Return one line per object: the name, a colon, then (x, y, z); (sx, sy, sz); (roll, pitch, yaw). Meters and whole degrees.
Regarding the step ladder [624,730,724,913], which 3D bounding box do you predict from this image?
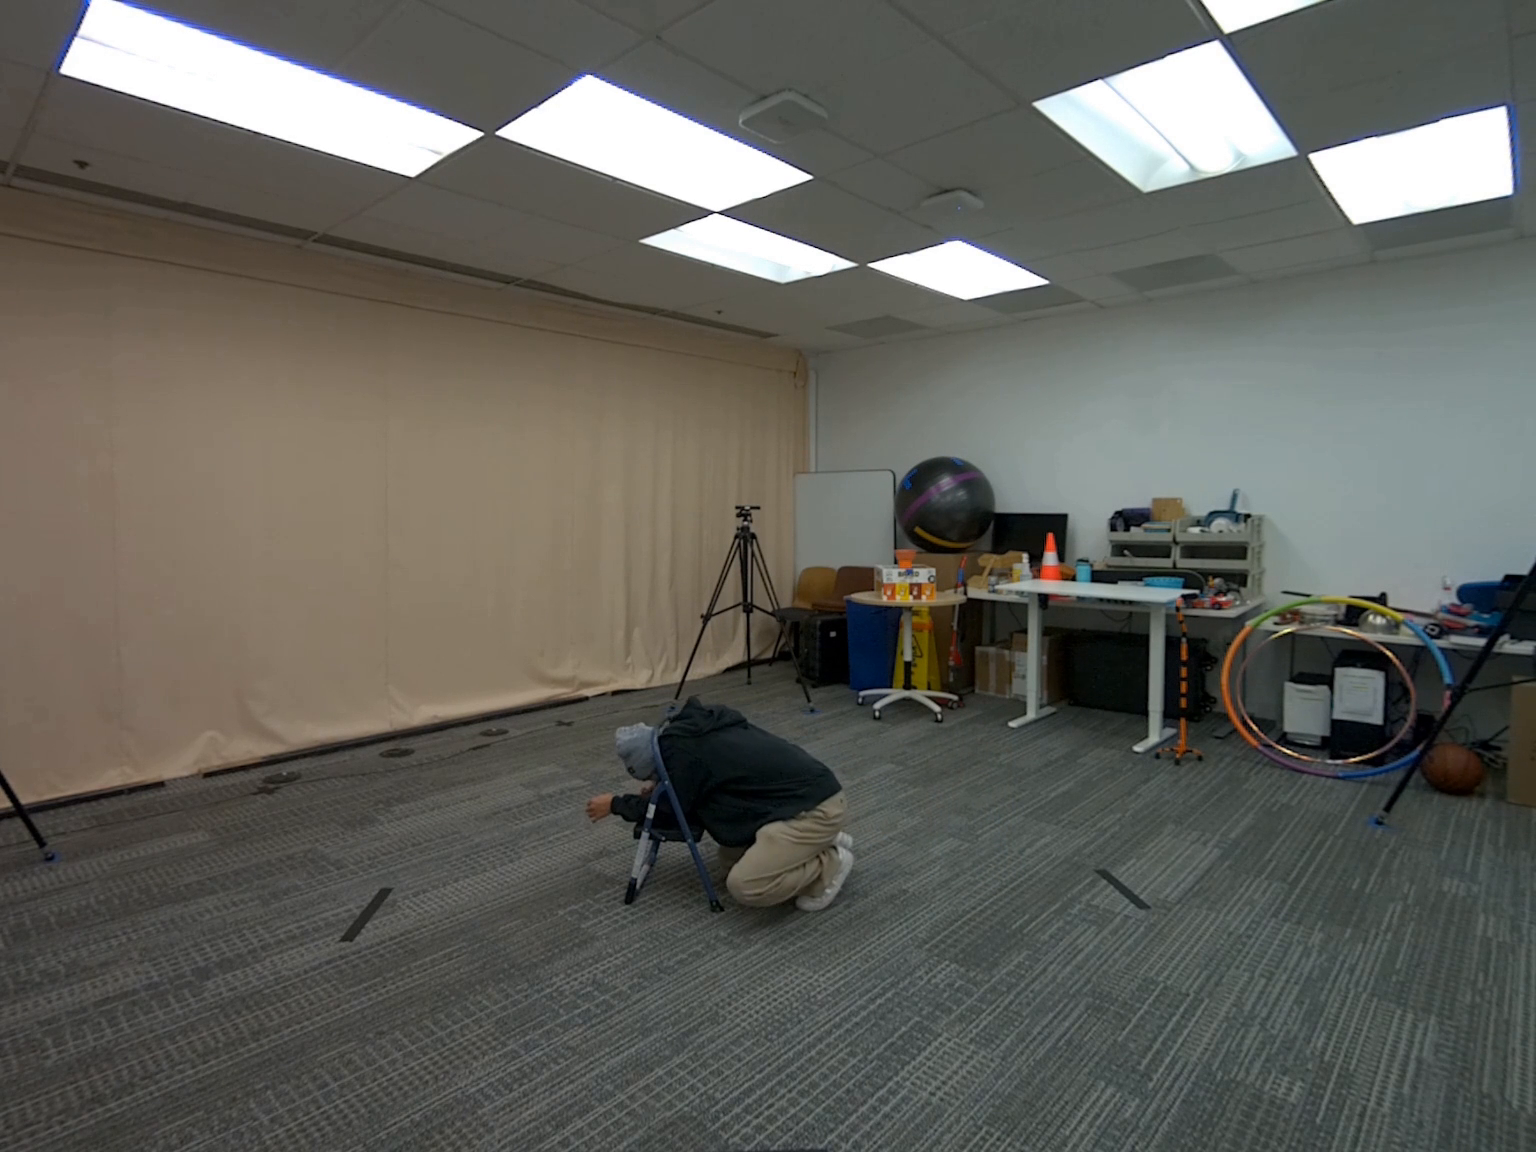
step ladder: (-0.326, 0.843, 3.111); (0.352, 0.605, 0.429); (0, 3, 5)
